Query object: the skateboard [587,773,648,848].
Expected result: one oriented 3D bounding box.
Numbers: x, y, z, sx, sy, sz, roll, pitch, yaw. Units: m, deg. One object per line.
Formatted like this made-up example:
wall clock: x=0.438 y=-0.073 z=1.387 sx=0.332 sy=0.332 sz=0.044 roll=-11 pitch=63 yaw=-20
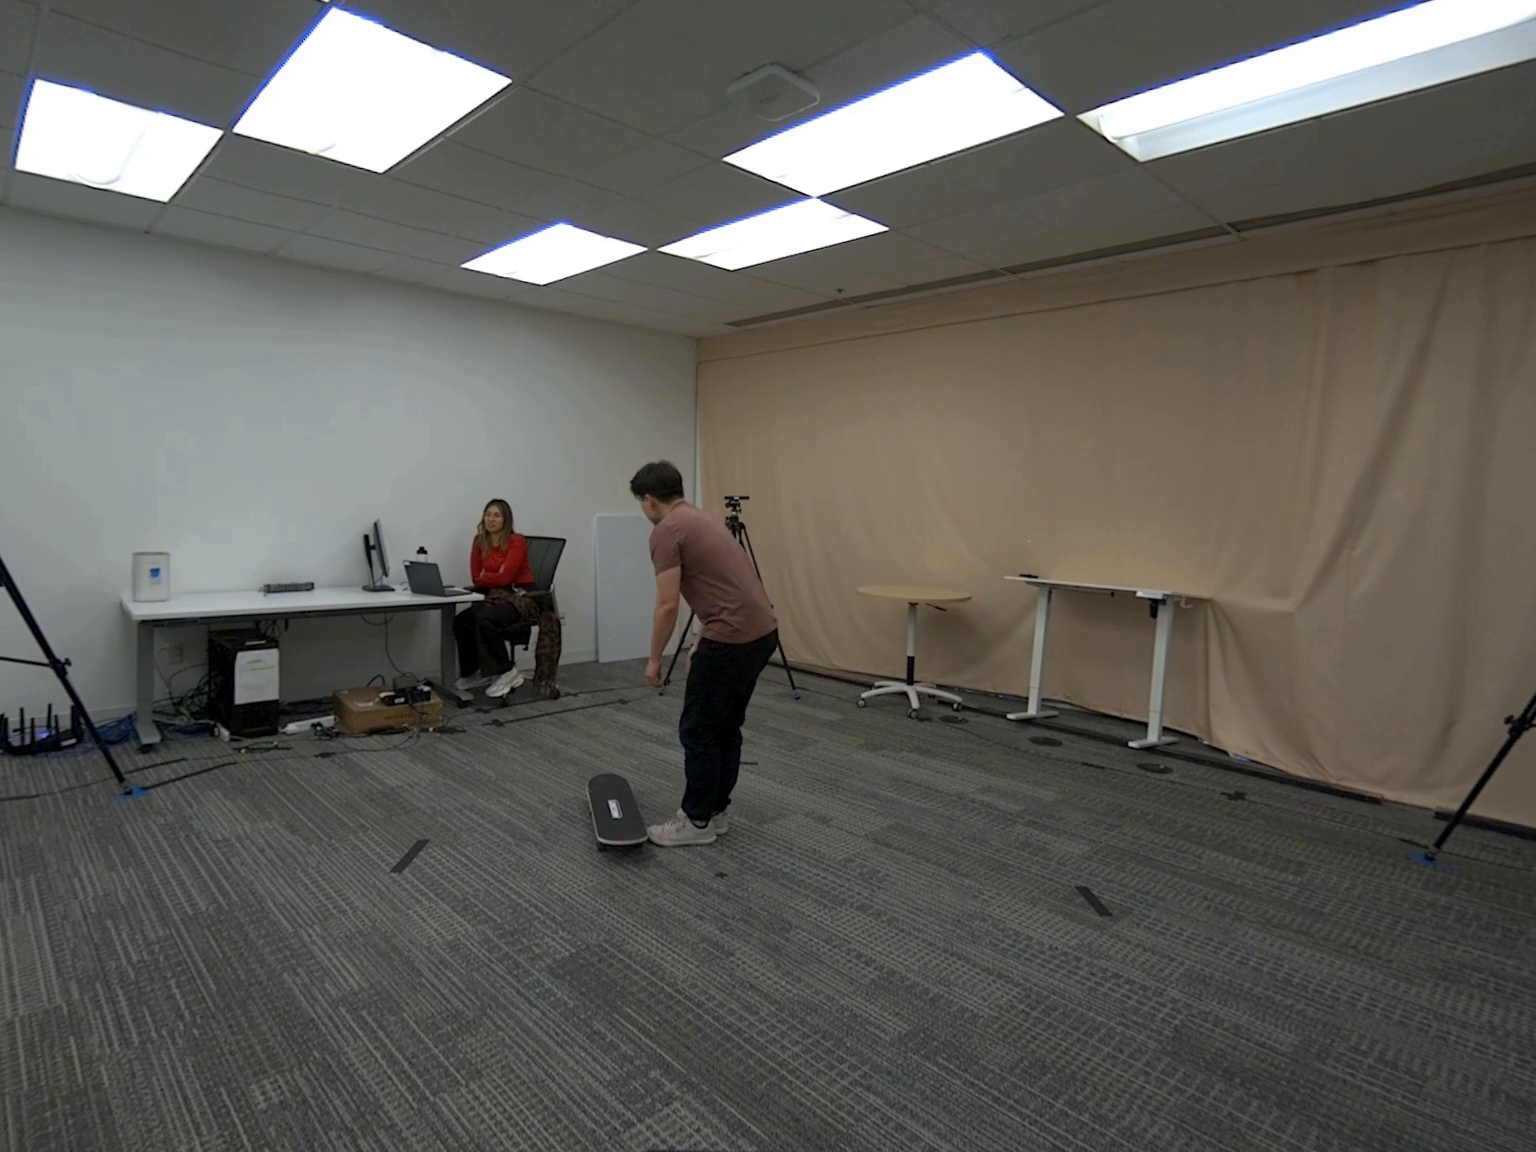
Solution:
skateboard: x=-0.641 y=0.999 z=3.507 sx=0.191 sy=0.110 sz=0.797 roll=0 pitch=5 yaw=-16
